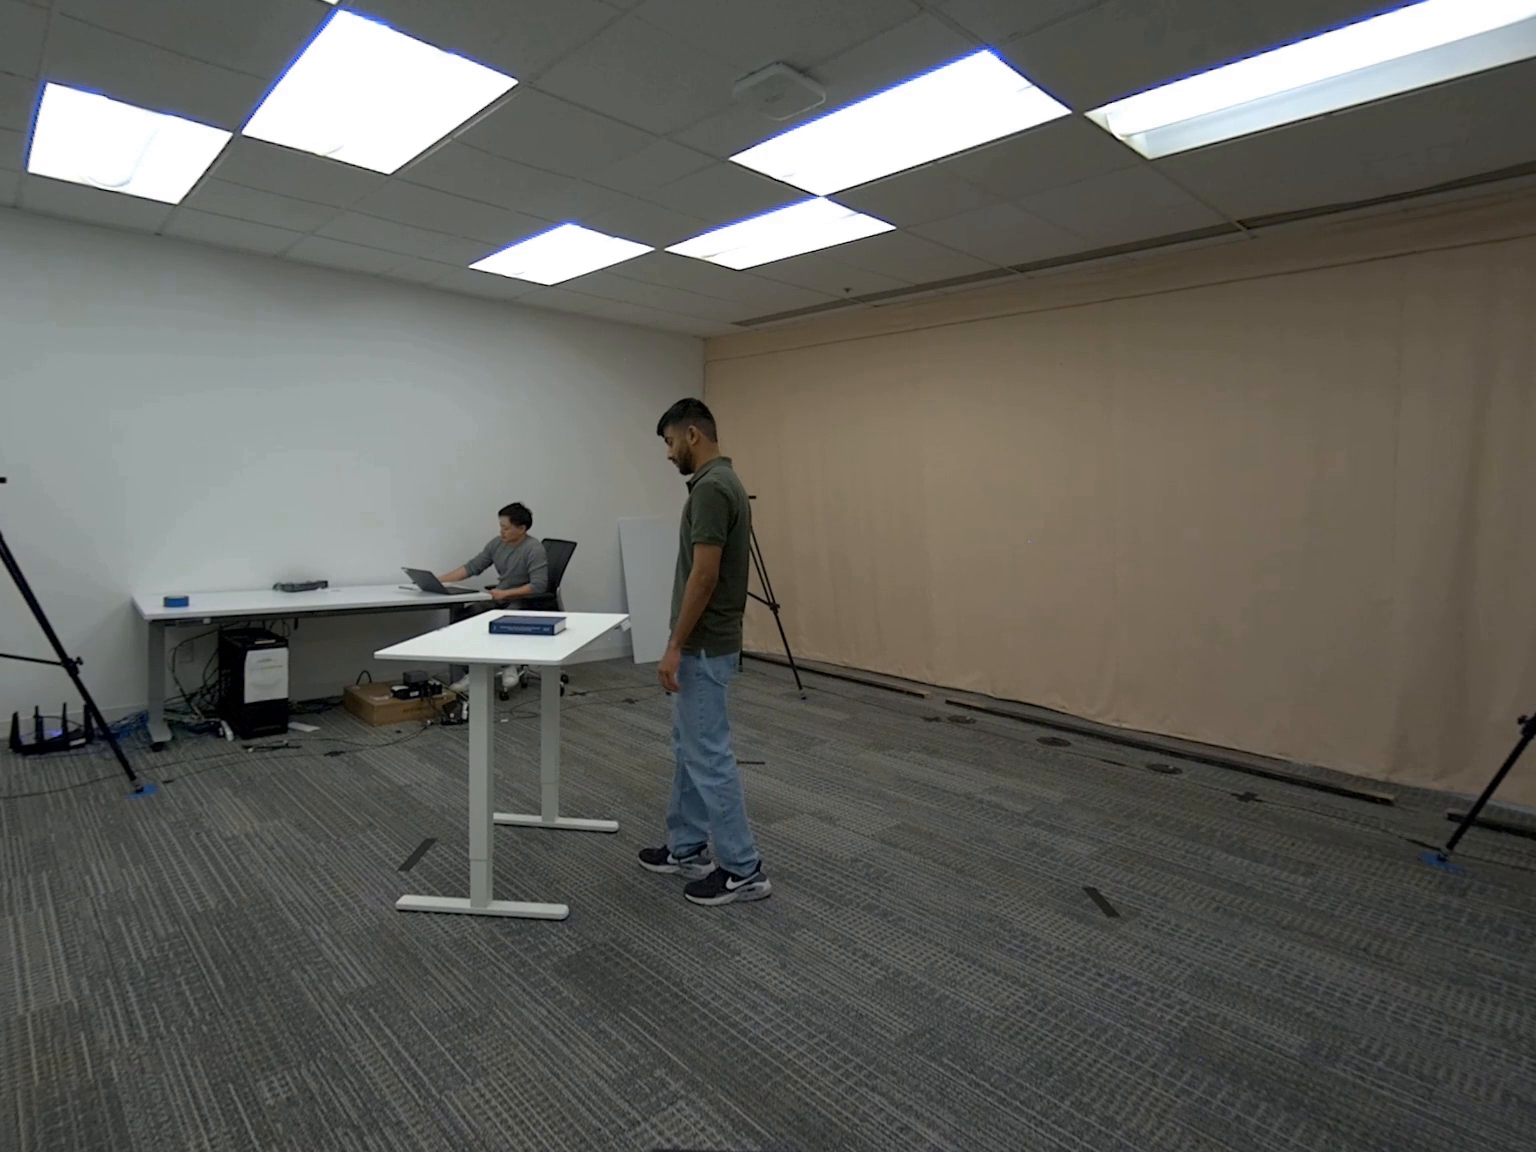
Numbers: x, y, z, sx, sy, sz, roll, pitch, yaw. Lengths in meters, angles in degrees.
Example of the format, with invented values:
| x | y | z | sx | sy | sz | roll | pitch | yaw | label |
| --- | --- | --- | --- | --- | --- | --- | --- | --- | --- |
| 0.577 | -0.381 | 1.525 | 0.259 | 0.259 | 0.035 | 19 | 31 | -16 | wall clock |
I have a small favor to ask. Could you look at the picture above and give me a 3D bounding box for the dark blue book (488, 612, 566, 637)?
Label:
| x | y | z | sx | sy | sz | roll | pitch | yaw | label |
| --- | --- | --- | --- | --- | --- | --- | --- | --- | --- |
| -0.882 | 0.181 | 3.090 | 0.246 | 0.045 | 0.163 | 1 | 6 | 3 | dark blue book |
